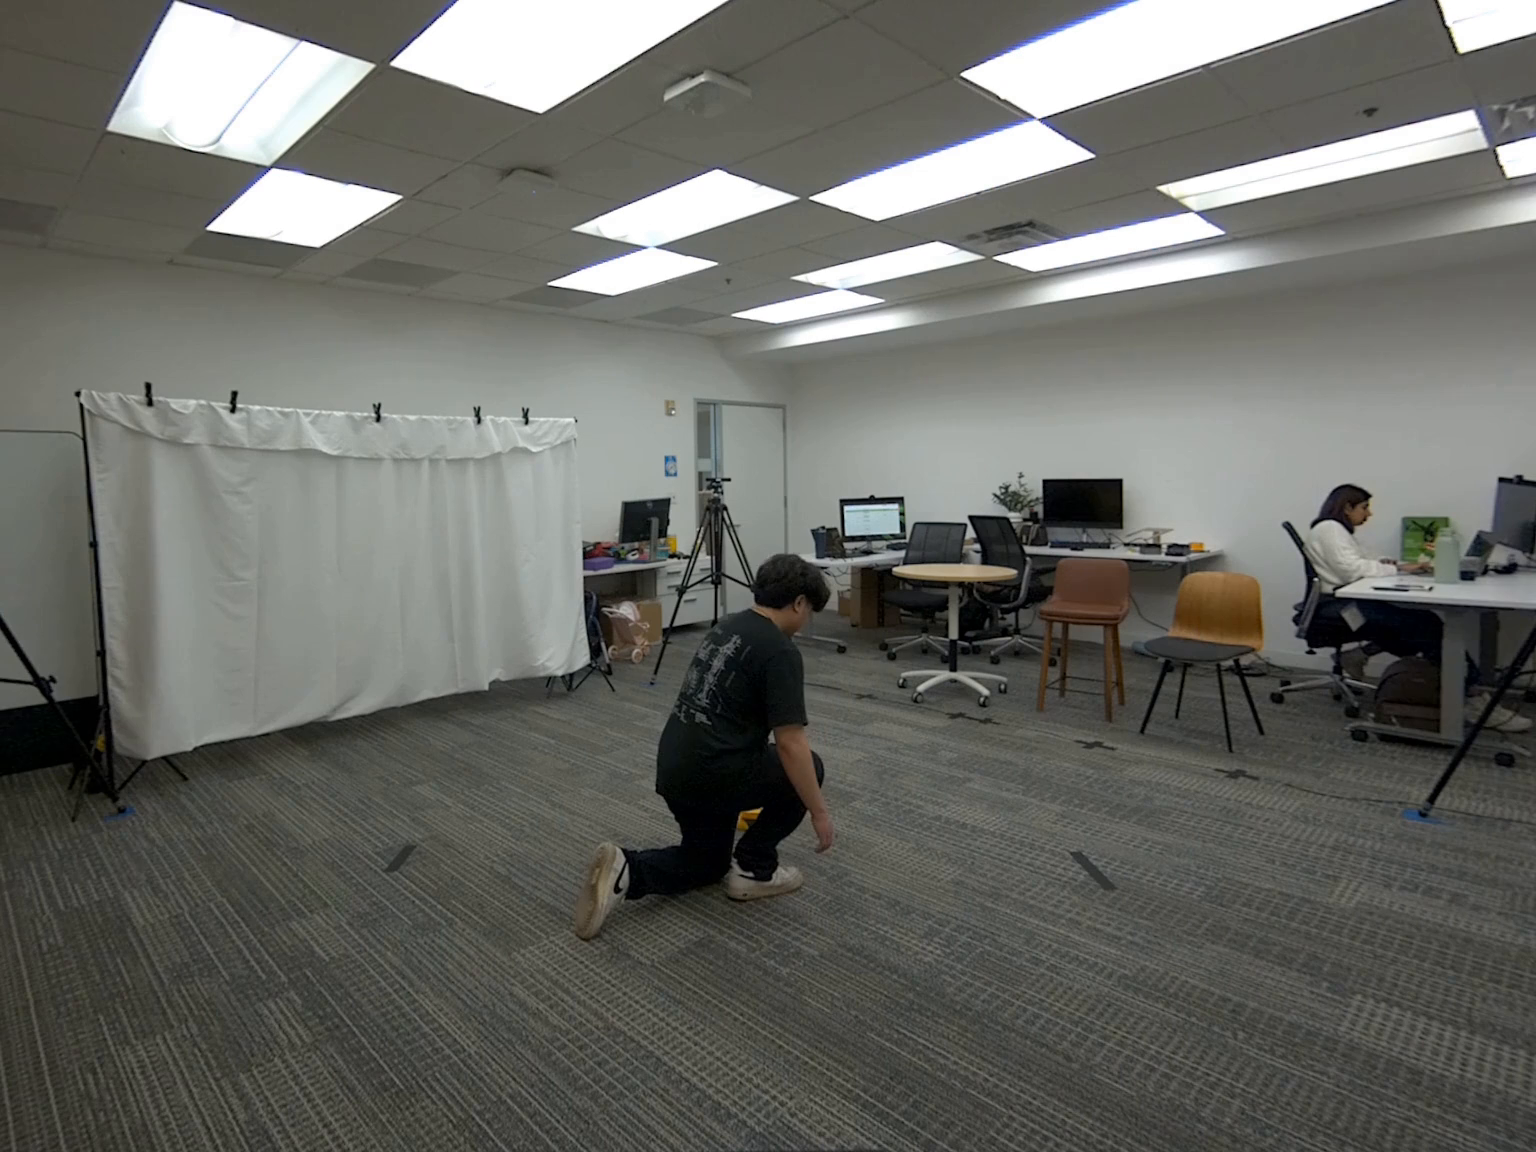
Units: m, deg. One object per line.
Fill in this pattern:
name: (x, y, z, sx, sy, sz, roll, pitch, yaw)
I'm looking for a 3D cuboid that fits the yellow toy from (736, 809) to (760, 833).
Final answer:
yellow toy: (-0.044, 0.890, 3.463, 0.206, 0.229, 0.193, 0, 6, 5)
